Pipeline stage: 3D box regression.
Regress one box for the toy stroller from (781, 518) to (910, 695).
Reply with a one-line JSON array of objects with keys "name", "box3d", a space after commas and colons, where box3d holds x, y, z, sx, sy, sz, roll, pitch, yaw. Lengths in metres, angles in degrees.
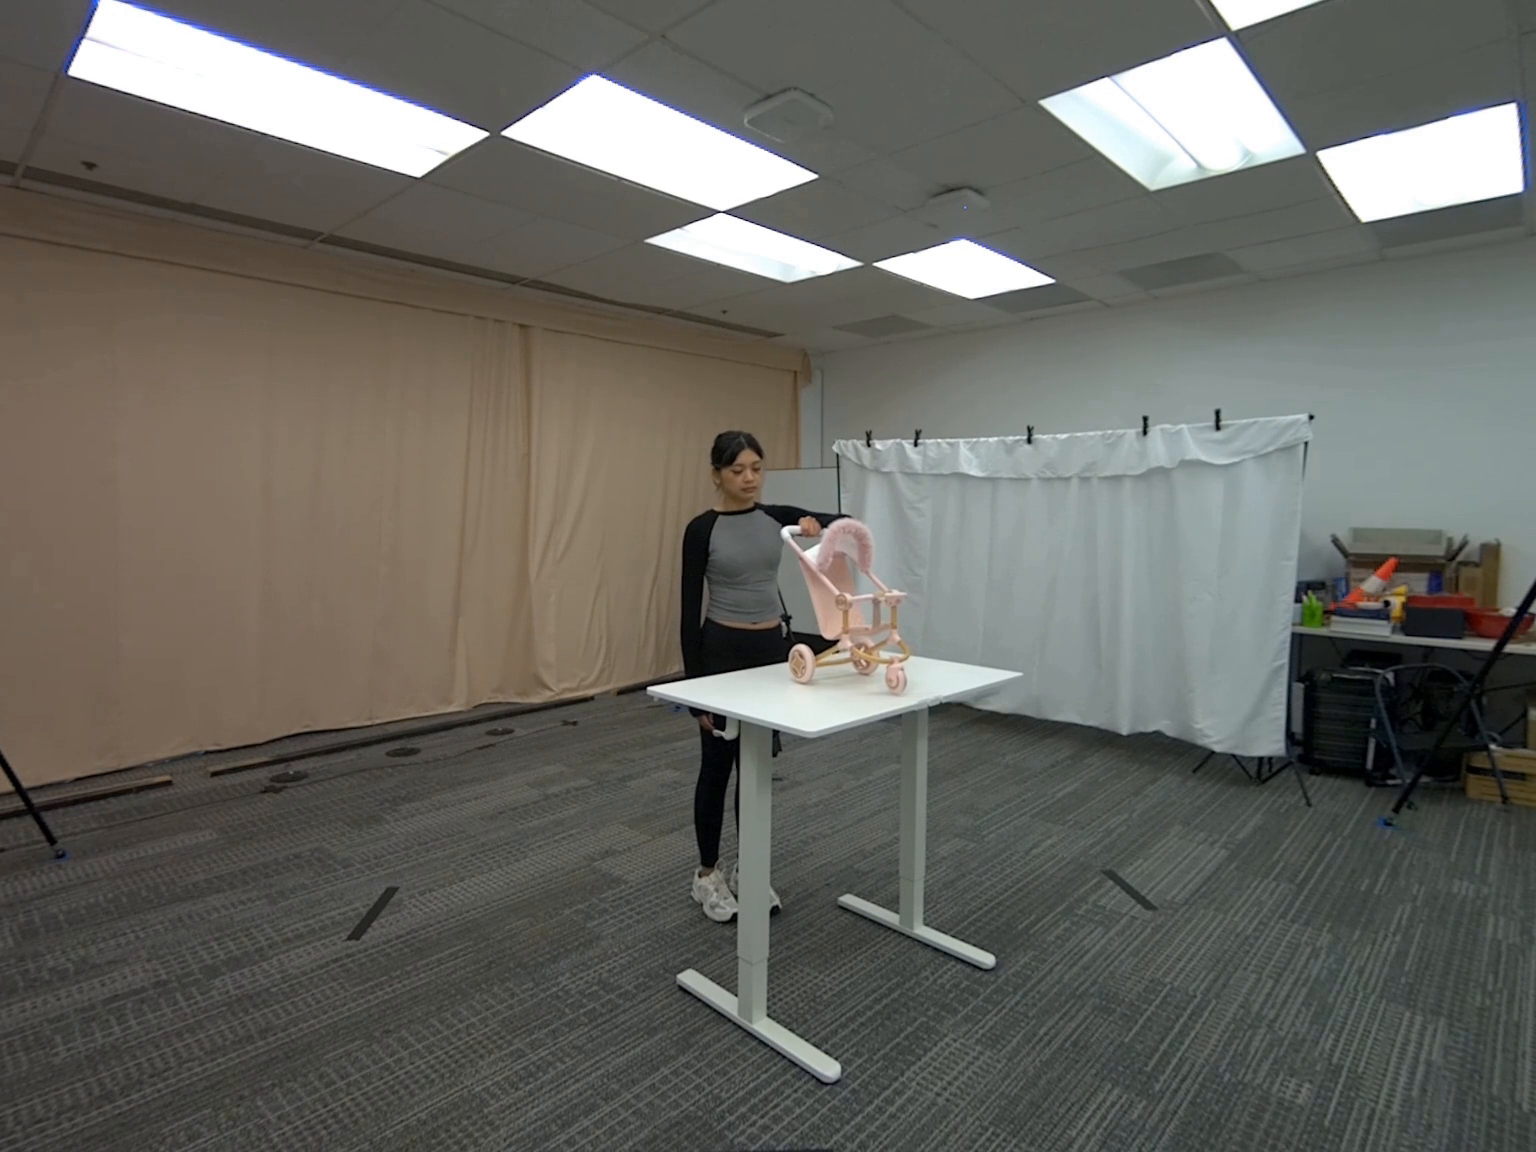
[{"name": "toy stroller", "box3d": [0.237, 0.080, 2.399, 0.274, 0.539, 0.348, -1, -11, -31]}]
